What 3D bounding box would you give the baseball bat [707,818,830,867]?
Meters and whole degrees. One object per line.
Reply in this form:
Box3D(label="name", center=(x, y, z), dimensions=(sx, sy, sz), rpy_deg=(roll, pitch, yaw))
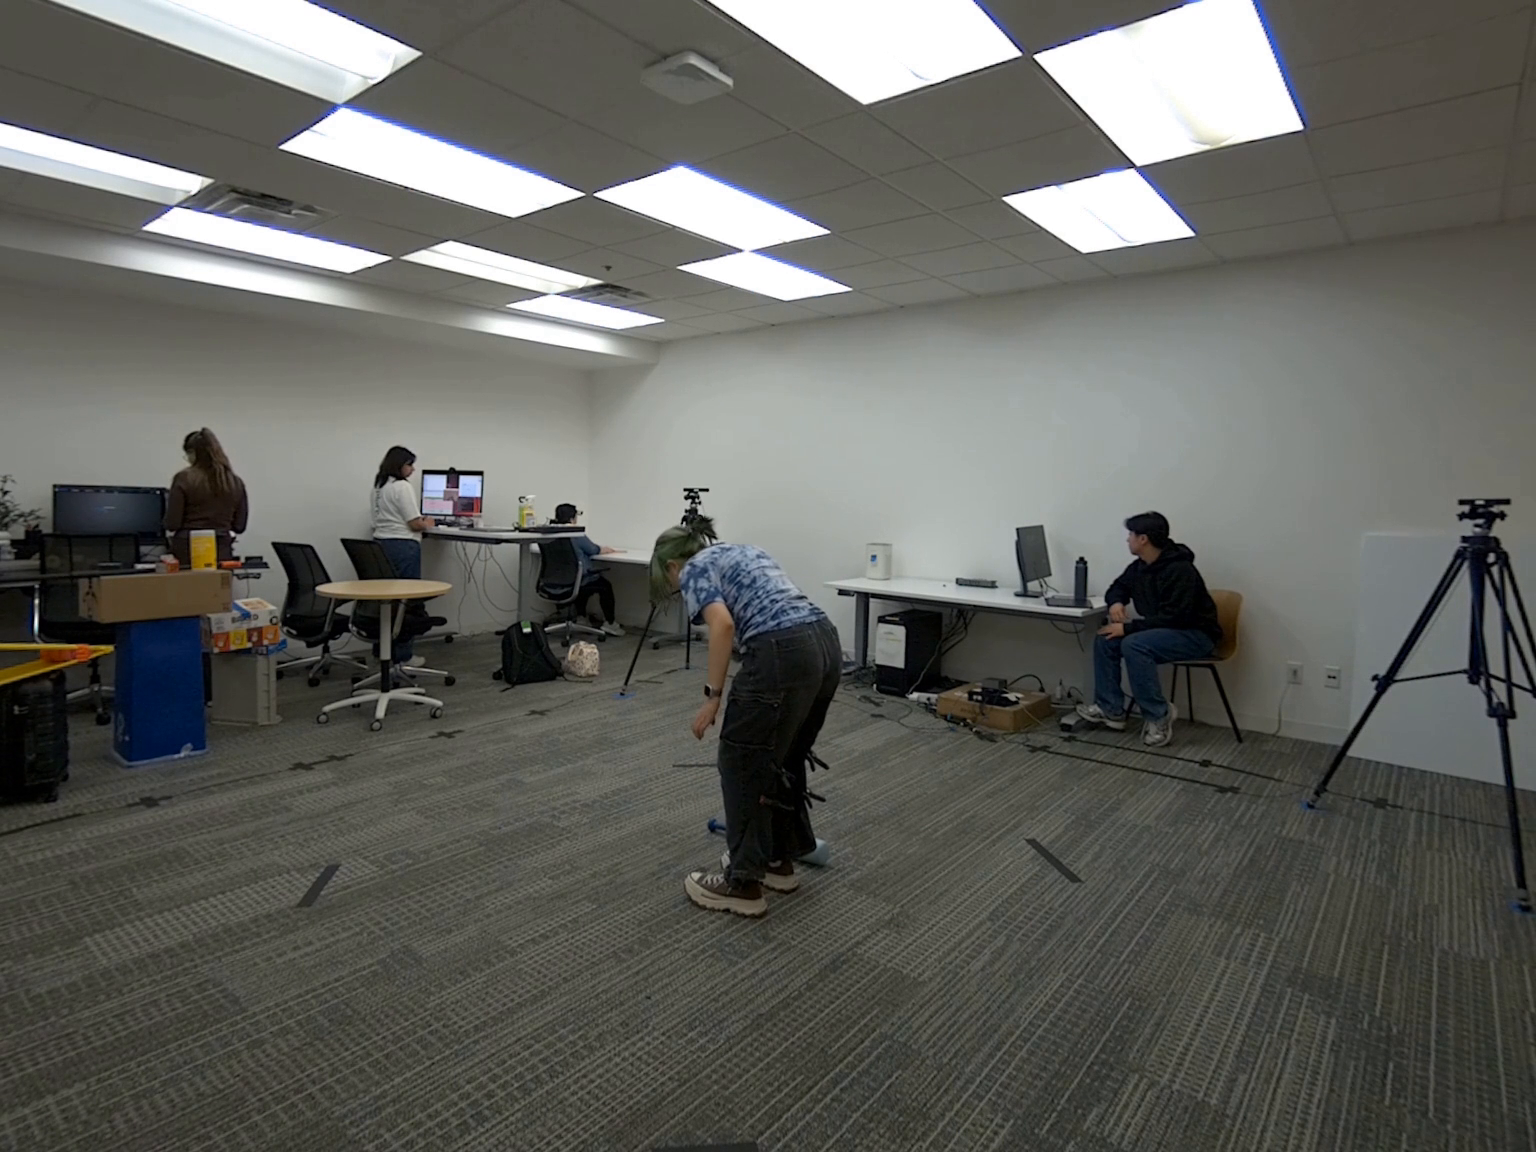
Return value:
Box3D(label="baseball bat", center=(-0.019, 1.016, 3.303), dimensions=(0.560, 0.089, 0.086), rpy_deg=(1, 3, 36))
